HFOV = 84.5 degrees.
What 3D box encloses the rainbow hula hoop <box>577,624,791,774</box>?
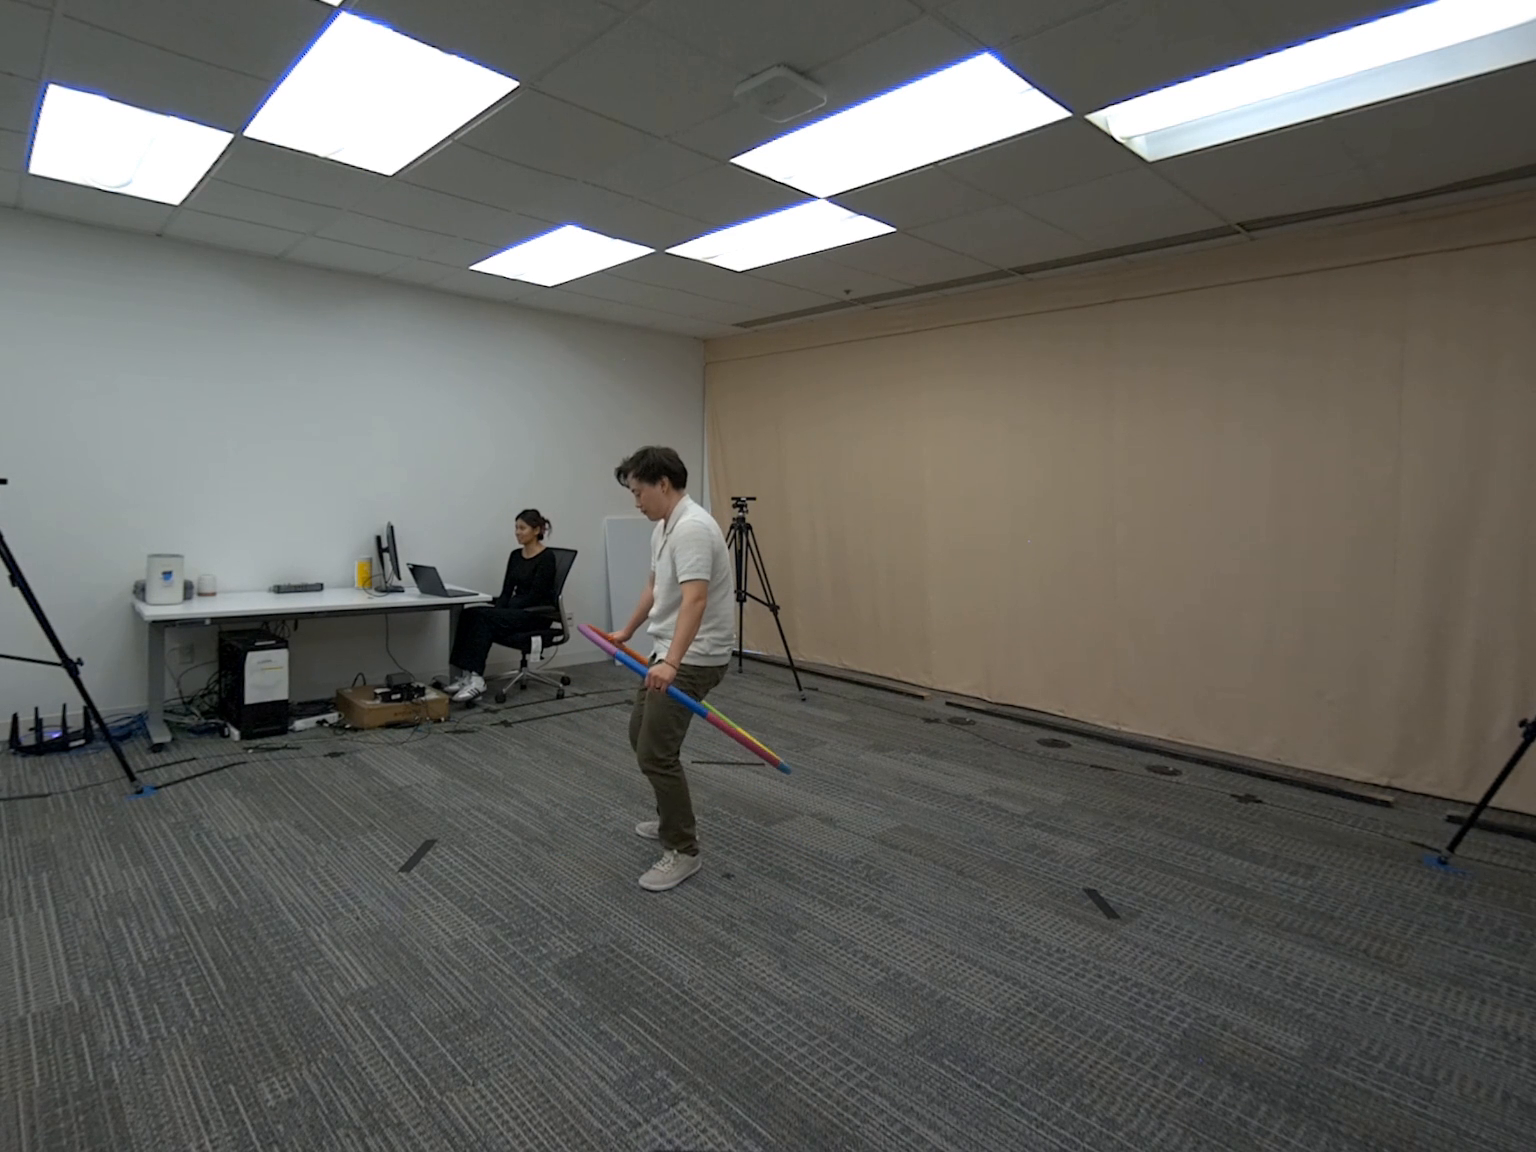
[{"bbox_3d":[-0.325,0.470,3.265,0.985,0.035,0.972,34,-9,4],"label":"rainbow hula hoop"}]
